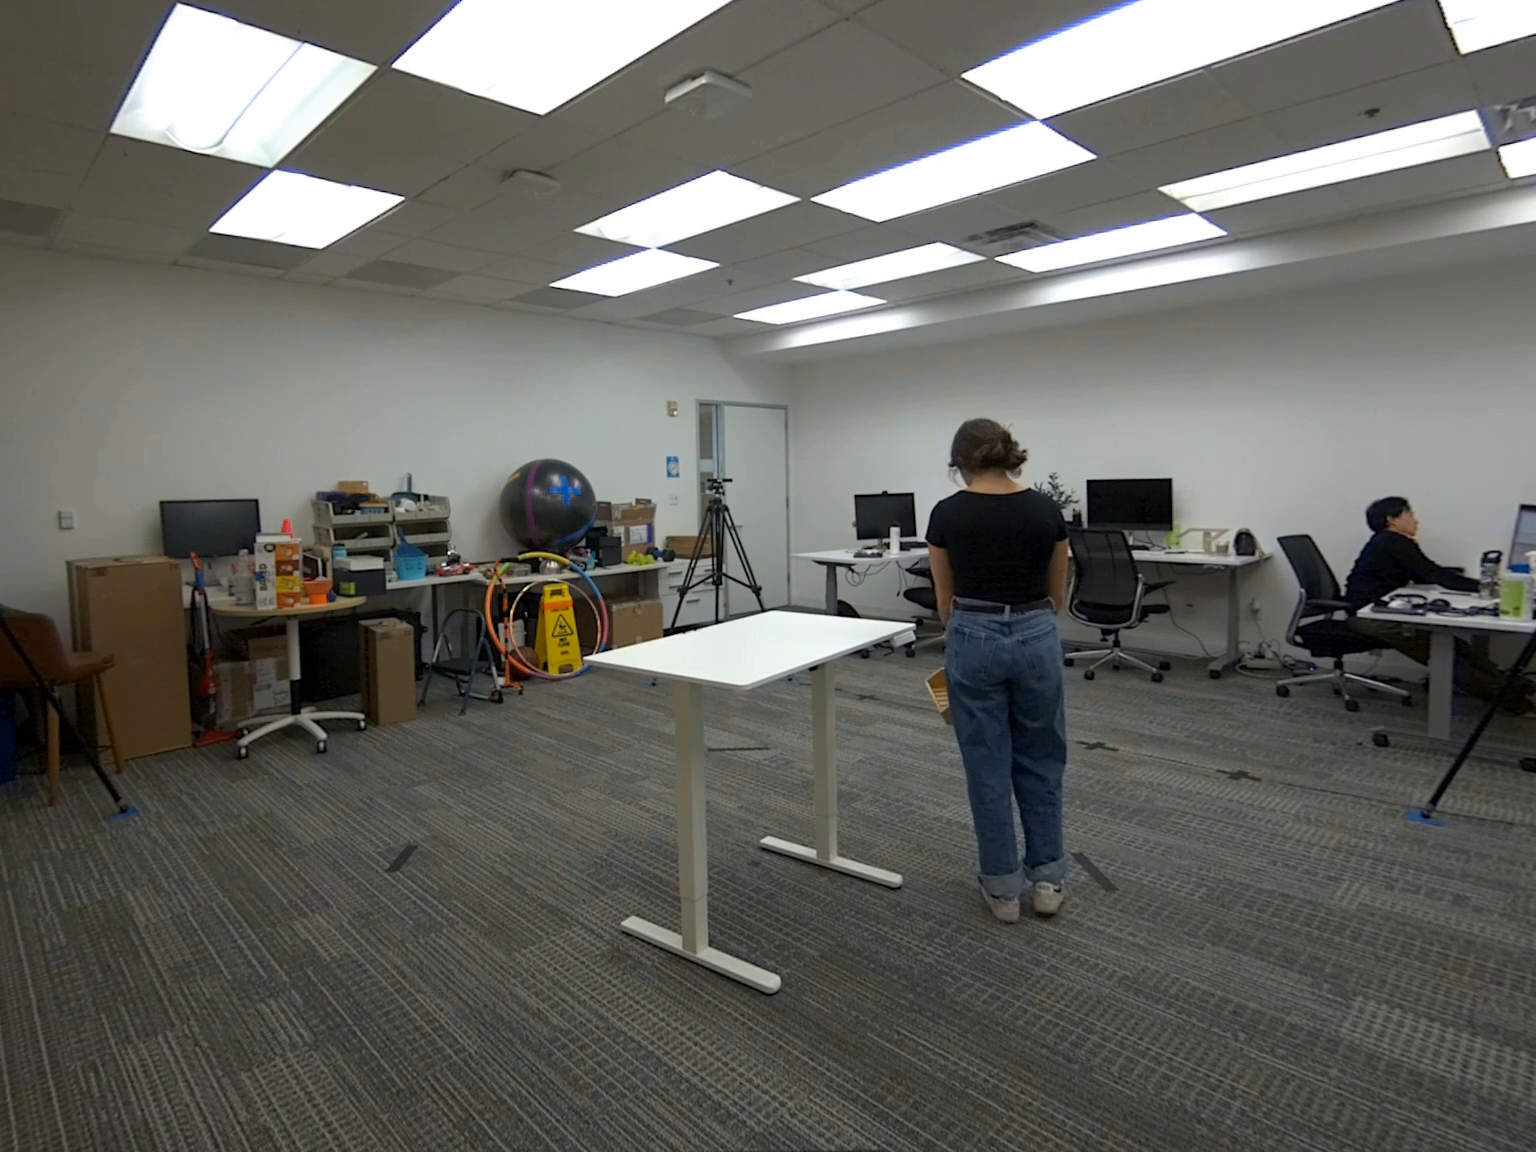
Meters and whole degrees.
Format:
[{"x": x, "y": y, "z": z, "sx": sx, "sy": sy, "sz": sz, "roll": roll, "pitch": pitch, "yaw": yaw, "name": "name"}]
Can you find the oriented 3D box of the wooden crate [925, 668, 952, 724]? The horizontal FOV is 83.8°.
[{"x": 0.713, "y": 0.333, "z": 3.015, "sx": 0.303, "sy": 0.270, "sz": 0.327, "roll": -6, "pitch": 12, "yaw": 3, "name": "wooden crate"}]
